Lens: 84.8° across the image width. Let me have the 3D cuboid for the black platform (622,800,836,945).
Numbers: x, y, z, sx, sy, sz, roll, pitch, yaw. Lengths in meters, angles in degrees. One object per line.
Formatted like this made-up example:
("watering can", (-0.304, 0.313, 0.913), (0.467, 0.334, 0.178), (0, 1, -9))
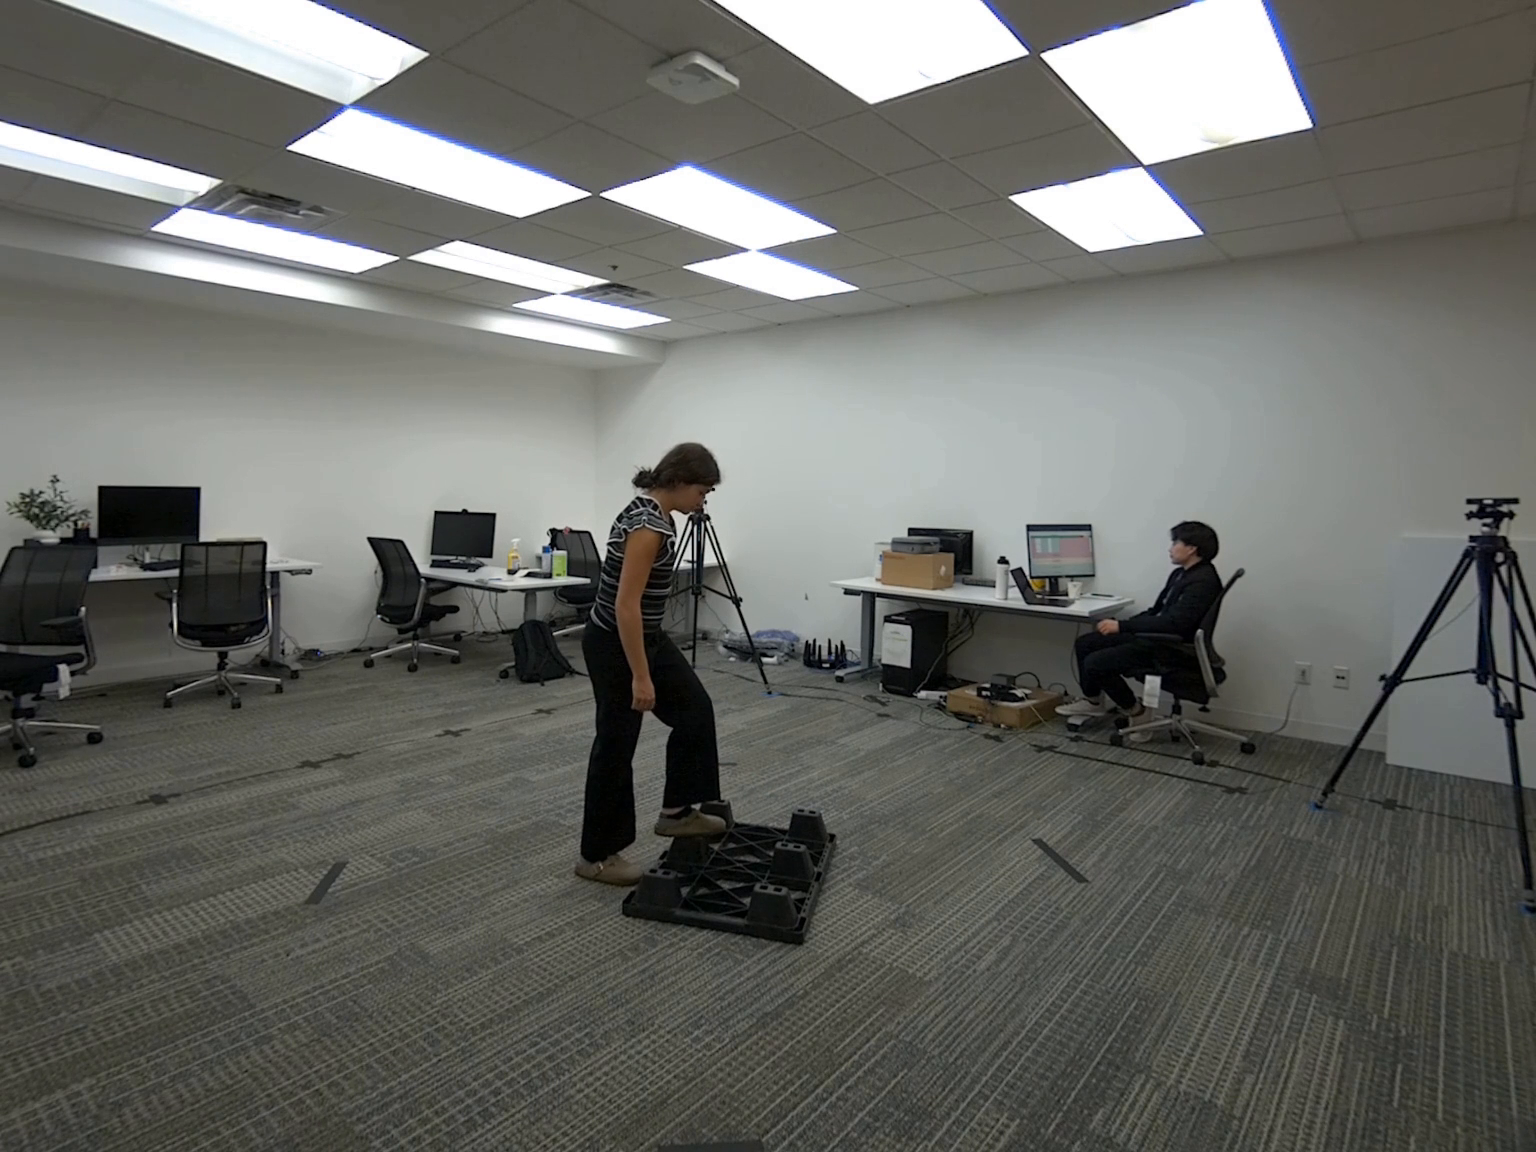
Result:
("black platform", (-0.113, 1.008, 3.054), (0.615, 0.143, 0.796), (2, 5, 13))
